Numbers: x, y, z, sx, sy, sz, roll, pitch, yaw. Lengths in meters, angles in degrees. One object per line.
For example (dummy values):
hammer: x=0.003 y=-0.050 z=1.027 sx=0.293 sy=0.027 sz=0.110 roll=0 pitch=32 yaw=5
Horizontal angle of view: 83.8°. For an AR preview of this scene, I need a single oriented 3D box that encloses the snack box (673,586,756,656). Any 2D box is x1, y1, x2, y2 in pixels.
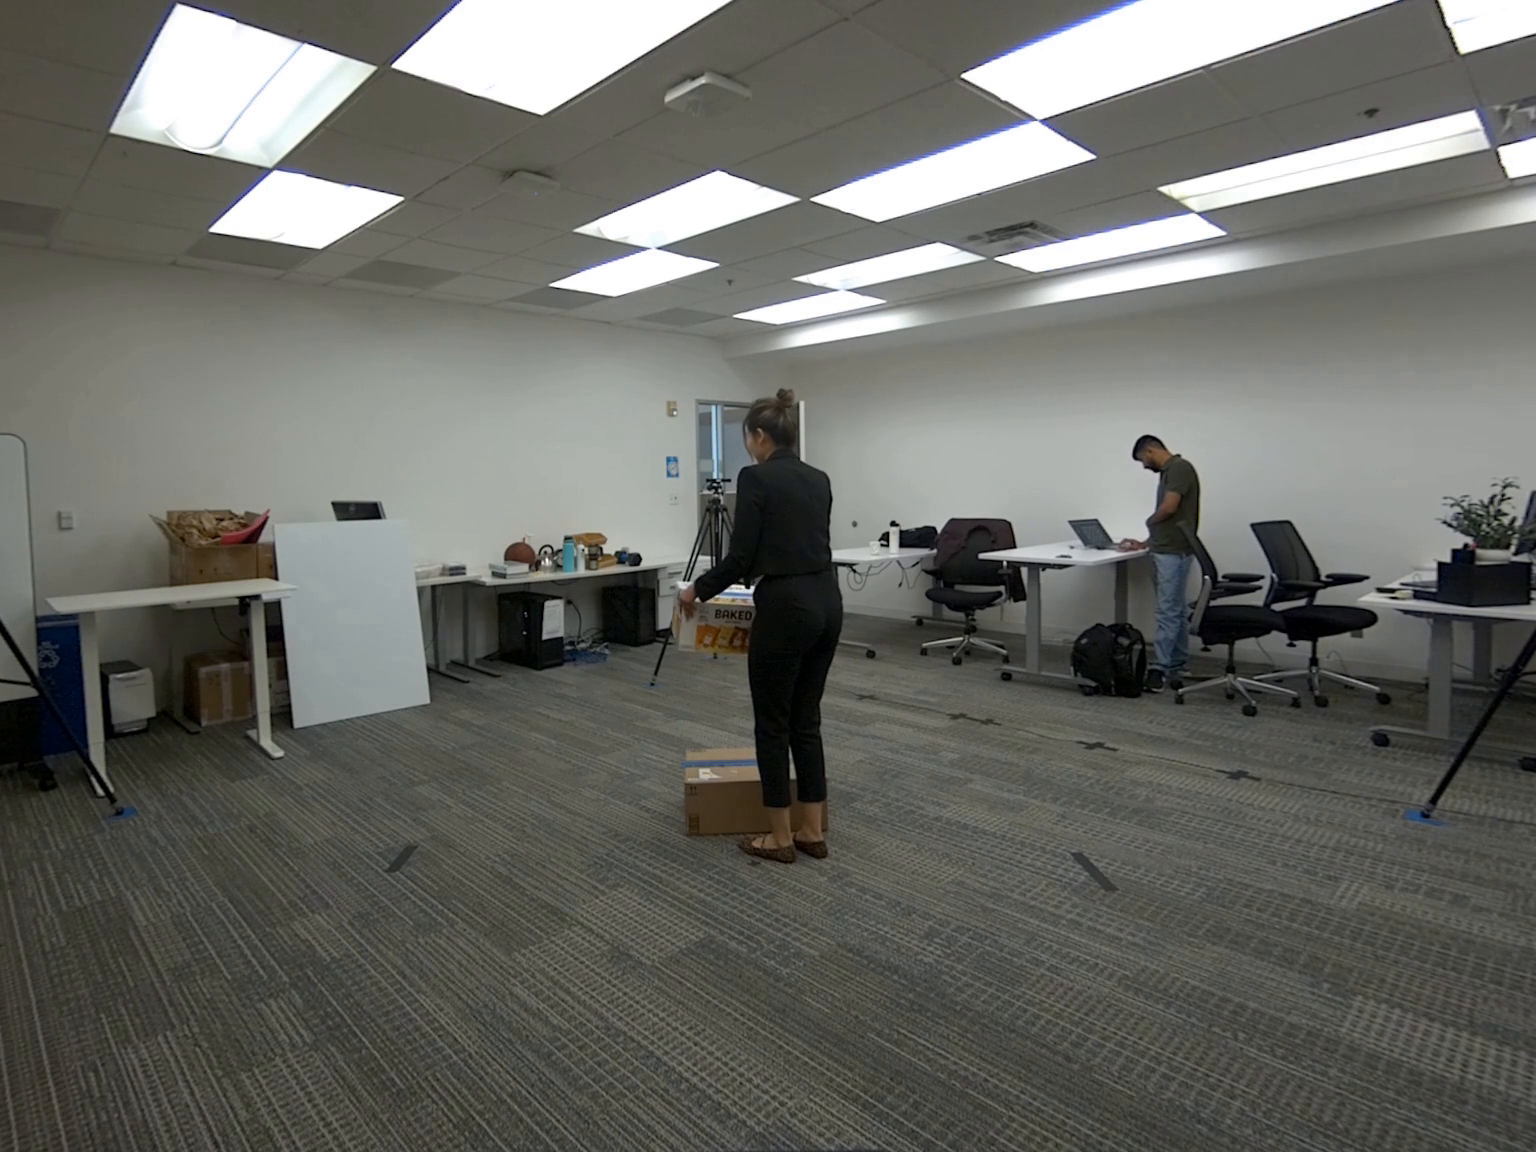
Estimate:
snack box: x=-0.165 y=0.168 z=3.473 sx=0.401 sy=0.204 sz=0.346 roll=4 pitch=11 yaw=-10
